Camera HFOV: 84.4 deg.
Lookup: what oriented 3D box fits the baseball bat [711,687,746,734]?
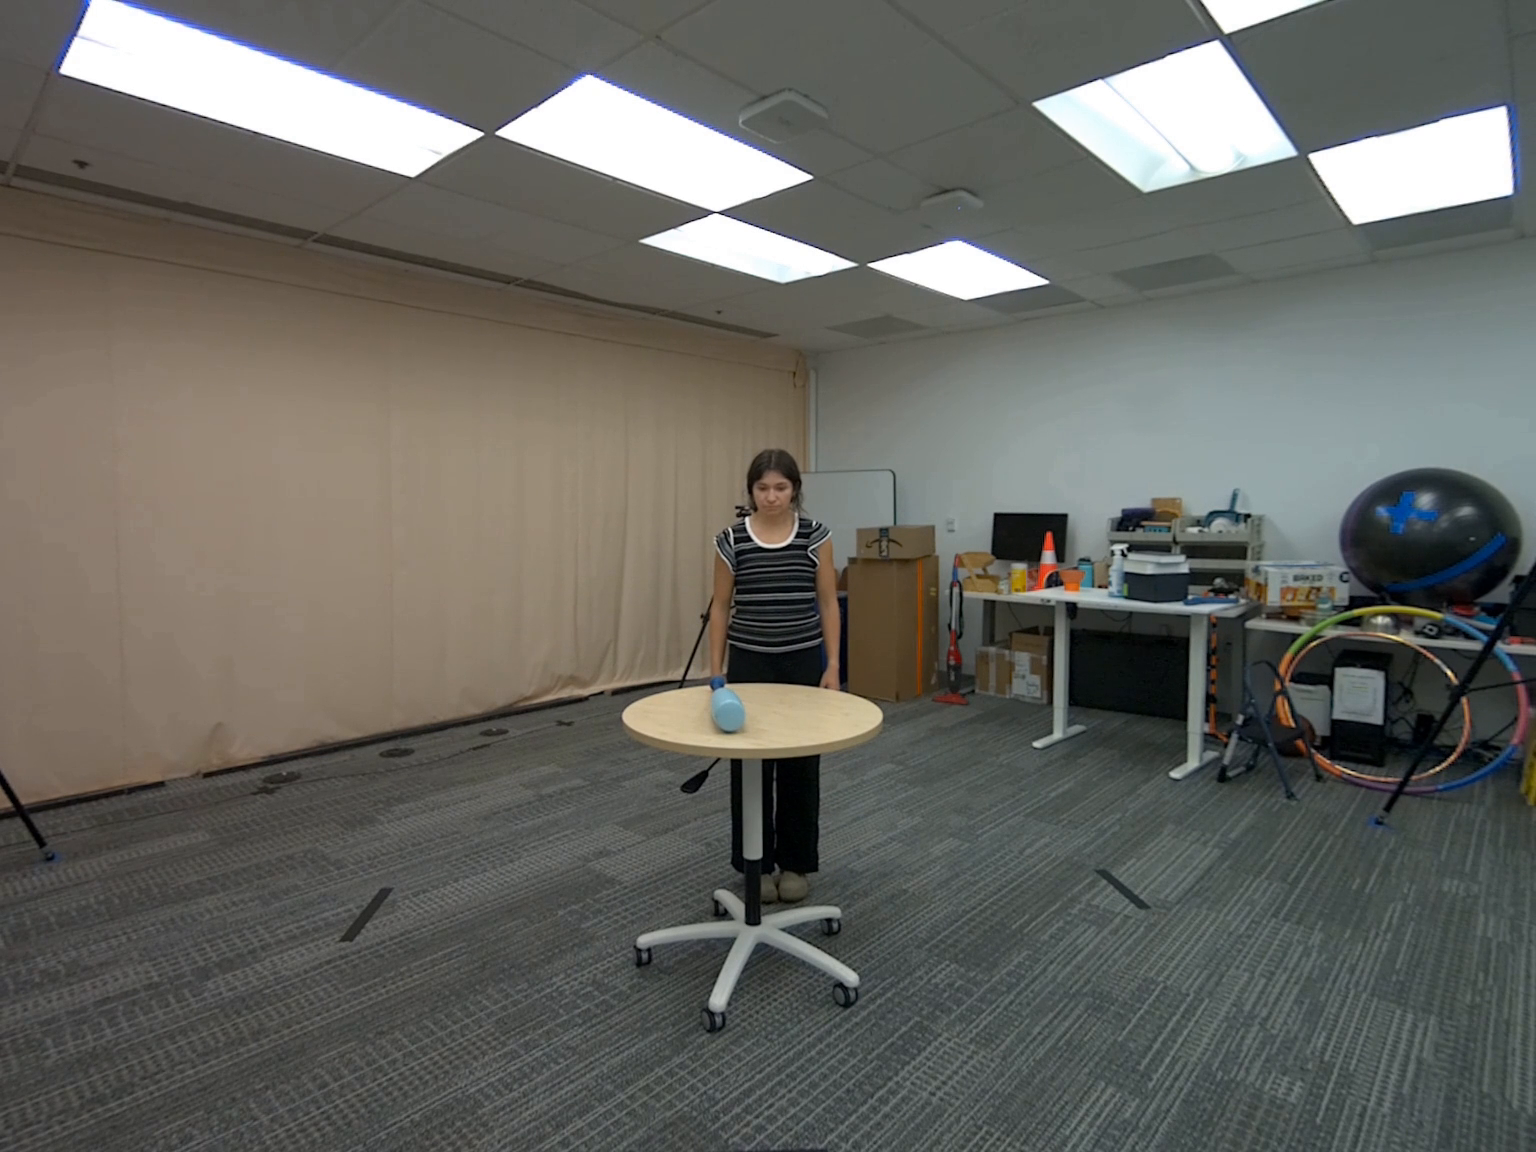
[{"bbox_3d":[-0.134,0.364,2.508,0.088,0.089,0.548,0,2,-9],"label":"baseball bat"}]
